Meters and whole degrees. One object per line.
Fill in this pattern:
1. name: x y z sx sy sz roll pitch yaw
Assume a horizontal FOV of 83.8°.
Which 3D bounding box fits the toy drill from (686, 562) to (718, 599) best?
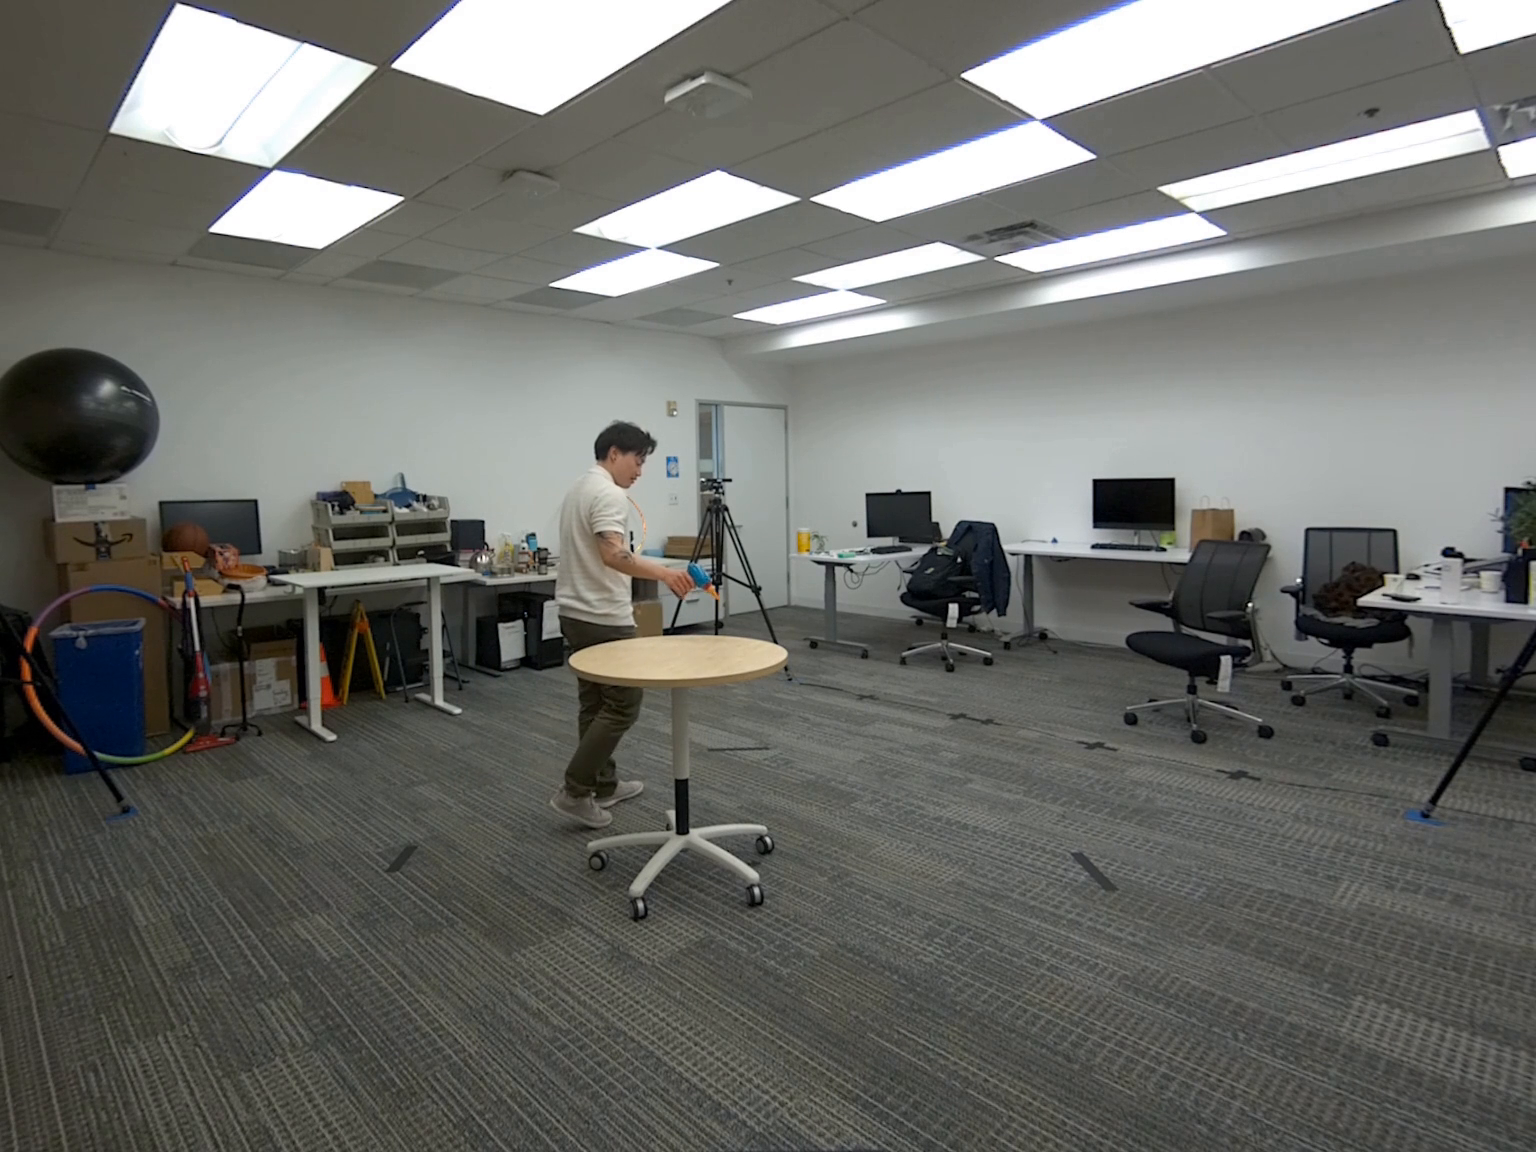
1. toy drill: -0.276 0.050 3.222 0.146 0.170 0.061 -39 0 12
